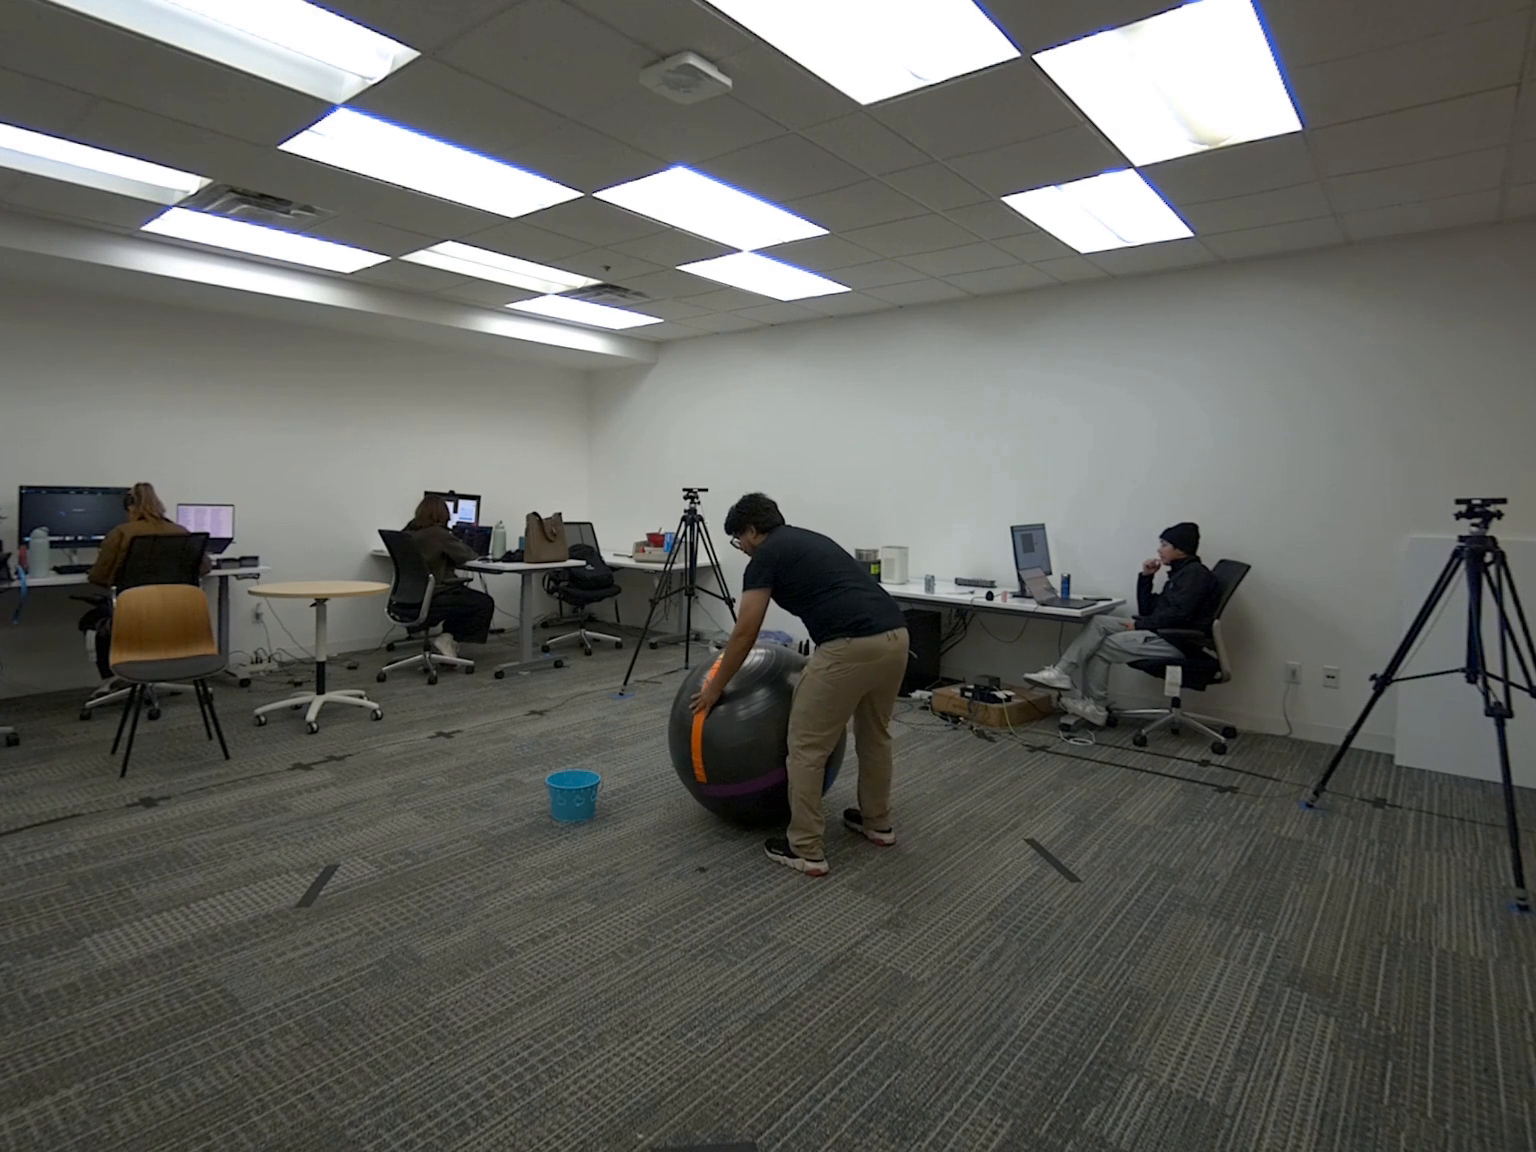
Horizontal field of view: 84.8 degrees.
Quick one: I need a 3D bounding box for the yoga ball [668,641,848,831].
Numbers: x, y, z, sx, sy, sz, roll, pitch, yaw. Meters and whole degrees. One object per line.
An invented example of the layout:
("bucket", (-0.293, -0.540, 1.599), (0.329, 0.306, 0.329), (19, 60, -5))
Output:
("yoga ball", (-0.054, 0.667, 3.633), (0.757, 0.755, 0.762), (1, 4, -2))
